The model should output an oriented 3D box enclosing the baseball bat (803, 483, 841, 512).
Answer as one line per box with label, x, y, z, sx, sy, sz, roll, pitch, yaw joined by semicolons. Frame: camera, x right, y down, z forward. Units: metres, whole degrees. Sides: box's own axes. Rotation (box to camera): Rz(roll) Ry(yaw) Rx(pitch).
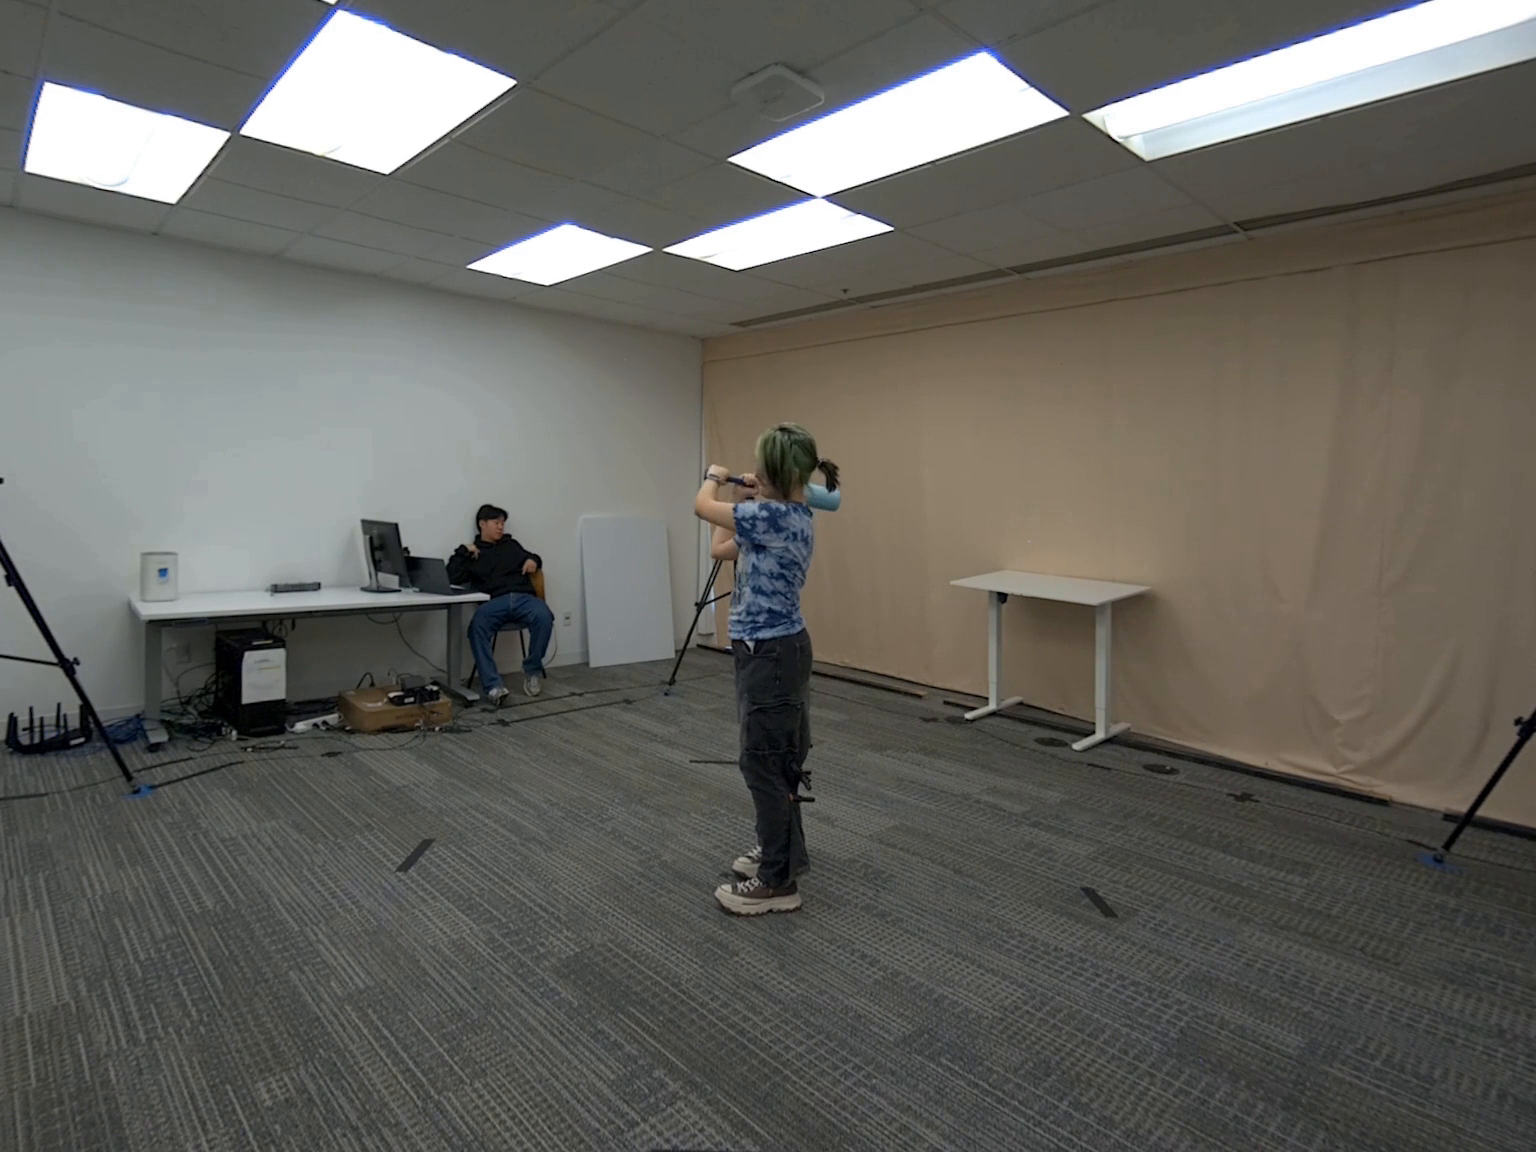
baseball bat;0.002;-0.329;3.199;0.536;0.089;0.090;11;2;-13
